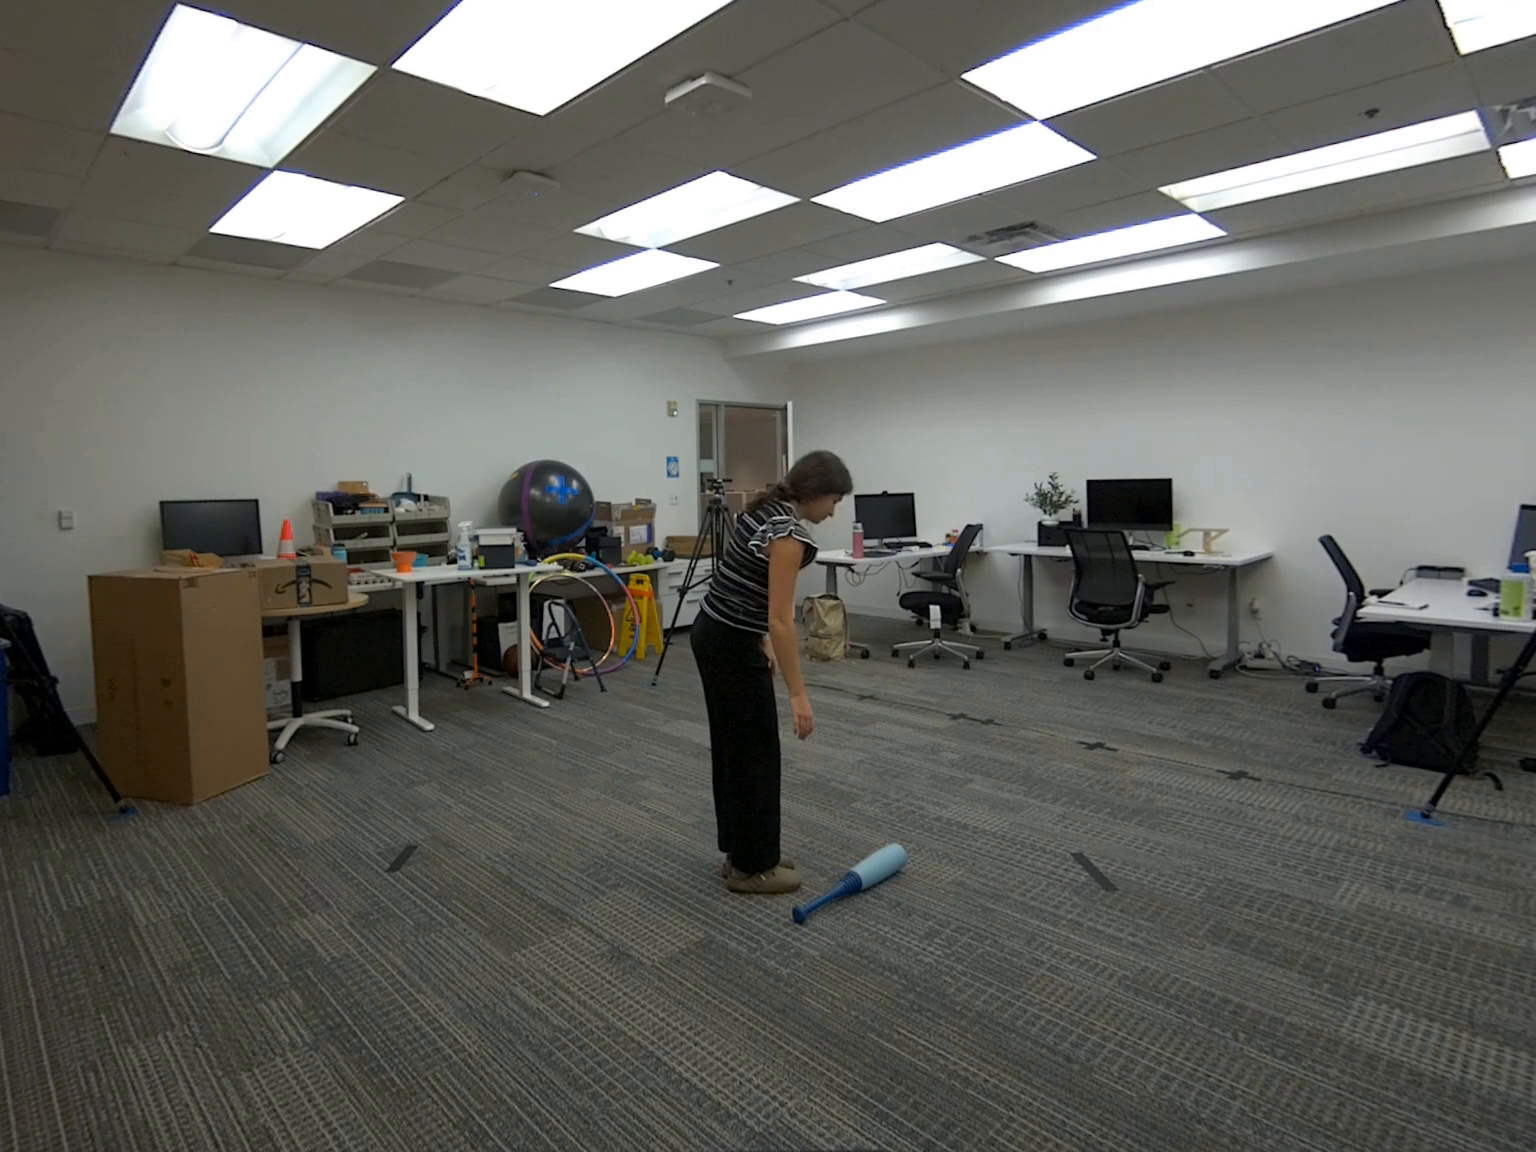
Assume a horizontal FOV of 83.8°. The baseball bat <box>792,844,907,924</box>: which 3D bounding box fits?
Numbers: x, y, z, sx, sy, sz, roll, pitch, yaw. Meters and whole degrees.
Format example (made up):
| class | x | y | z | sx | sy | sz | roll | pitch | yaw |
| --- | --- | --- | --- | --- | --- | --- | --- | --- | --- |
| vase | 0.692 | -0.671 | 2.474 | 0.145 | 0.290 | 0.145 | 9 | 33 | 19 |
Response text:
| class | x | y | z | sx | sy | sz | roll | pitch | yaw |
| --- | --- | --- | --- | --- | --- | --- | --- | --- | --- |
| baseball bat | 0.276 | 1.031 | 2.857 | 0.530 | 0.088 | 0.092 | -12 | 11 | -43 |
